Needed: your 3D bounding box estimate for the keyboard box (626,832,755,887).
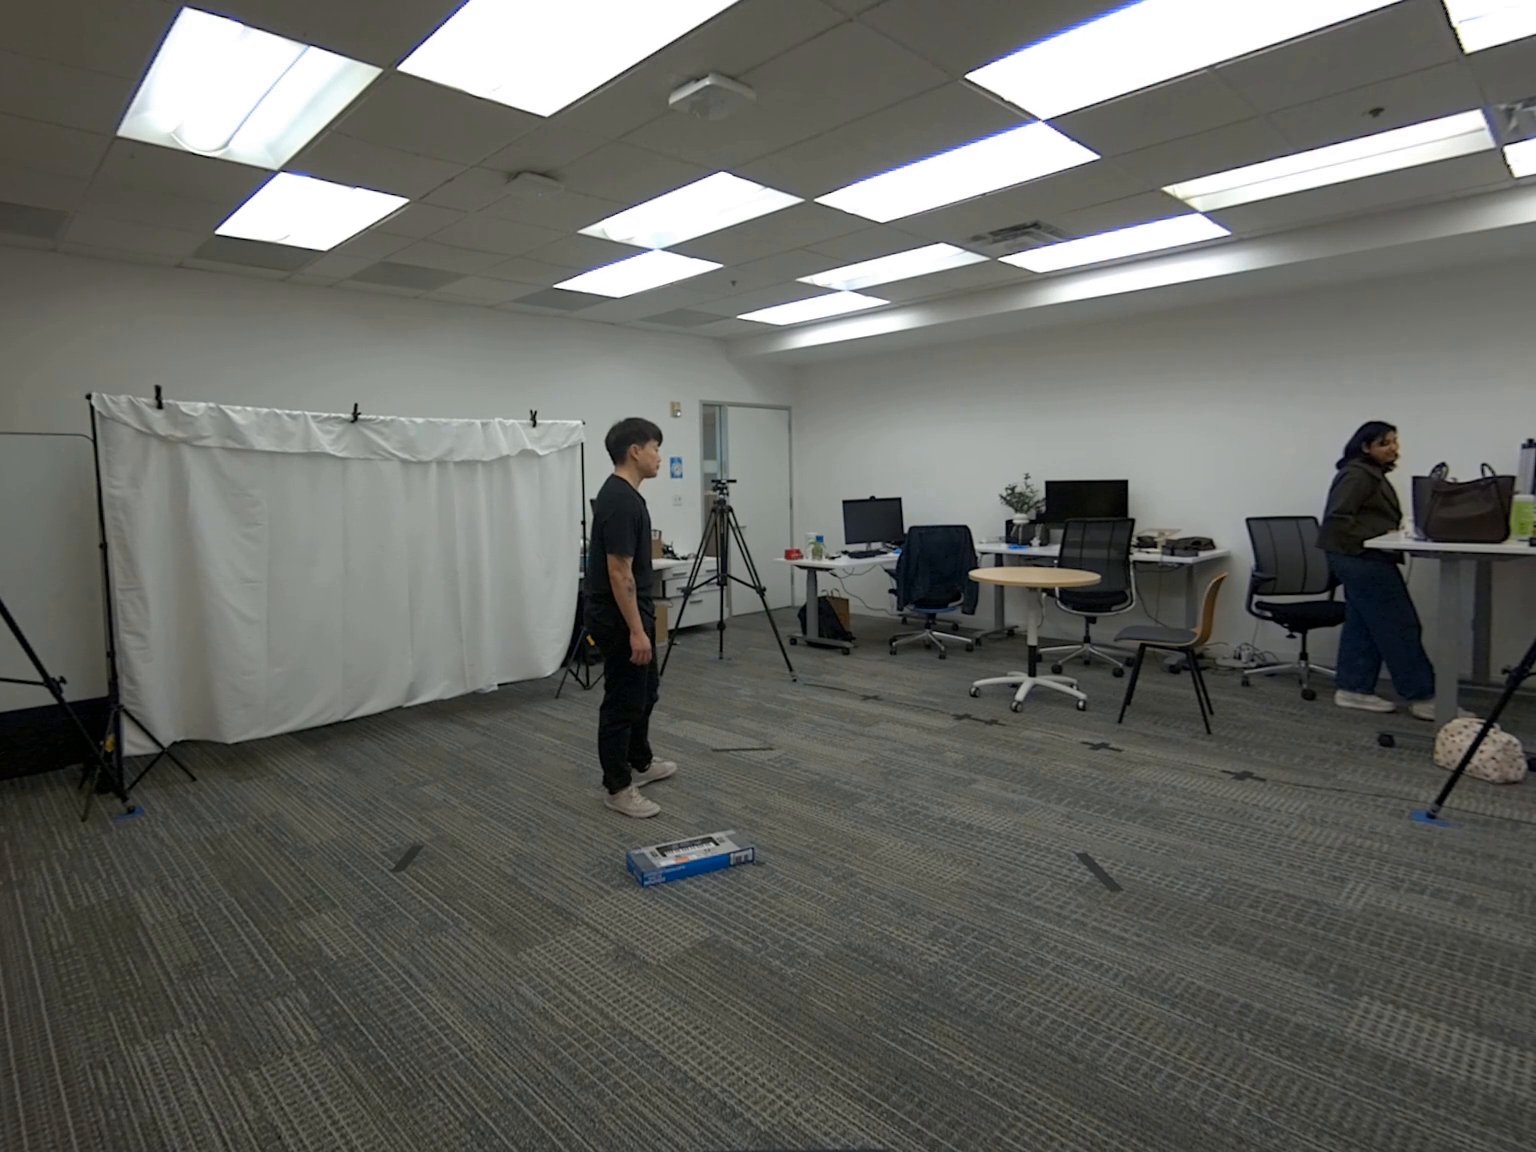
[{"bbox_3d":[-0.276,1.020,3.103,0.427,0.059,0.181,-4,8,-26],"label":"keyboard box"}]
